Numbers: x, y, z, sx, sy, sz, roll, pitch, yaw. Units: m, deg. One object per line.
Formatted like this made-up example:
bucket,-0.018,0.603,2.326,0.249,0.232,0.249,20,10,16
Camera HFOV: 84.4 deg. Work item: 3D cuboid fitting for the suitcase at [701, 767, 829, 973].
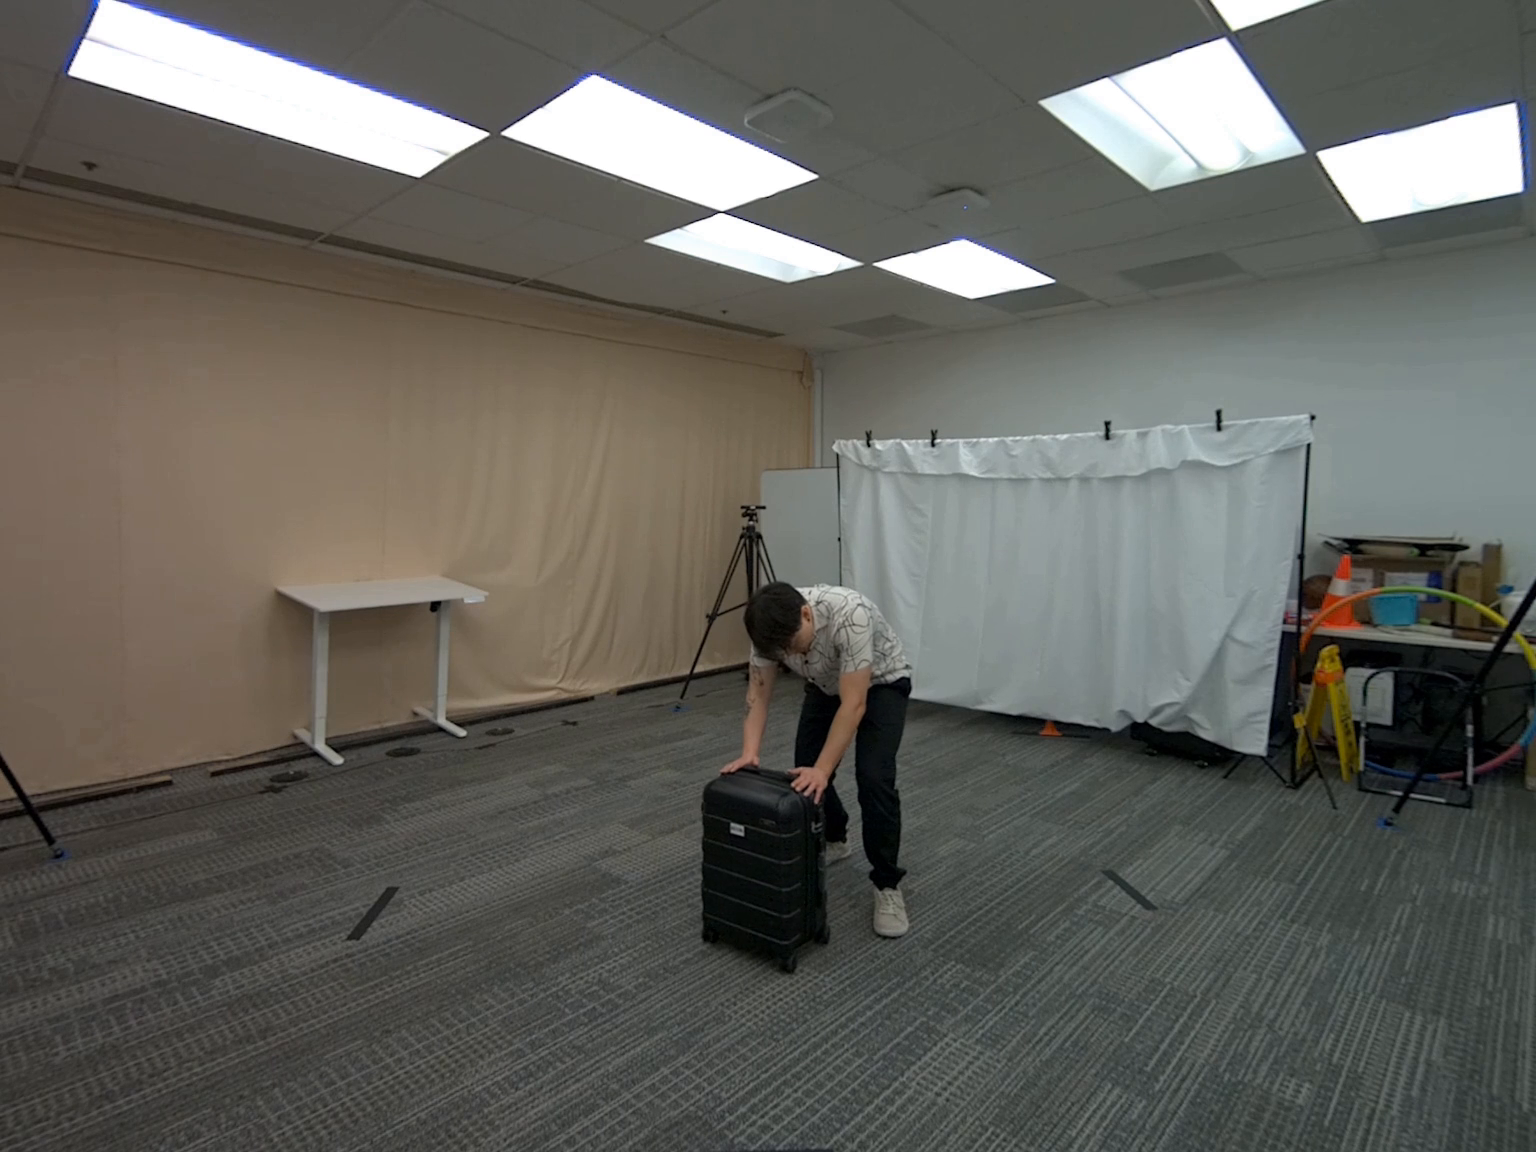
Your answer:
suitcase,-0.009,0.895,2.655,0.387,0.548,0.241,3,5,37
